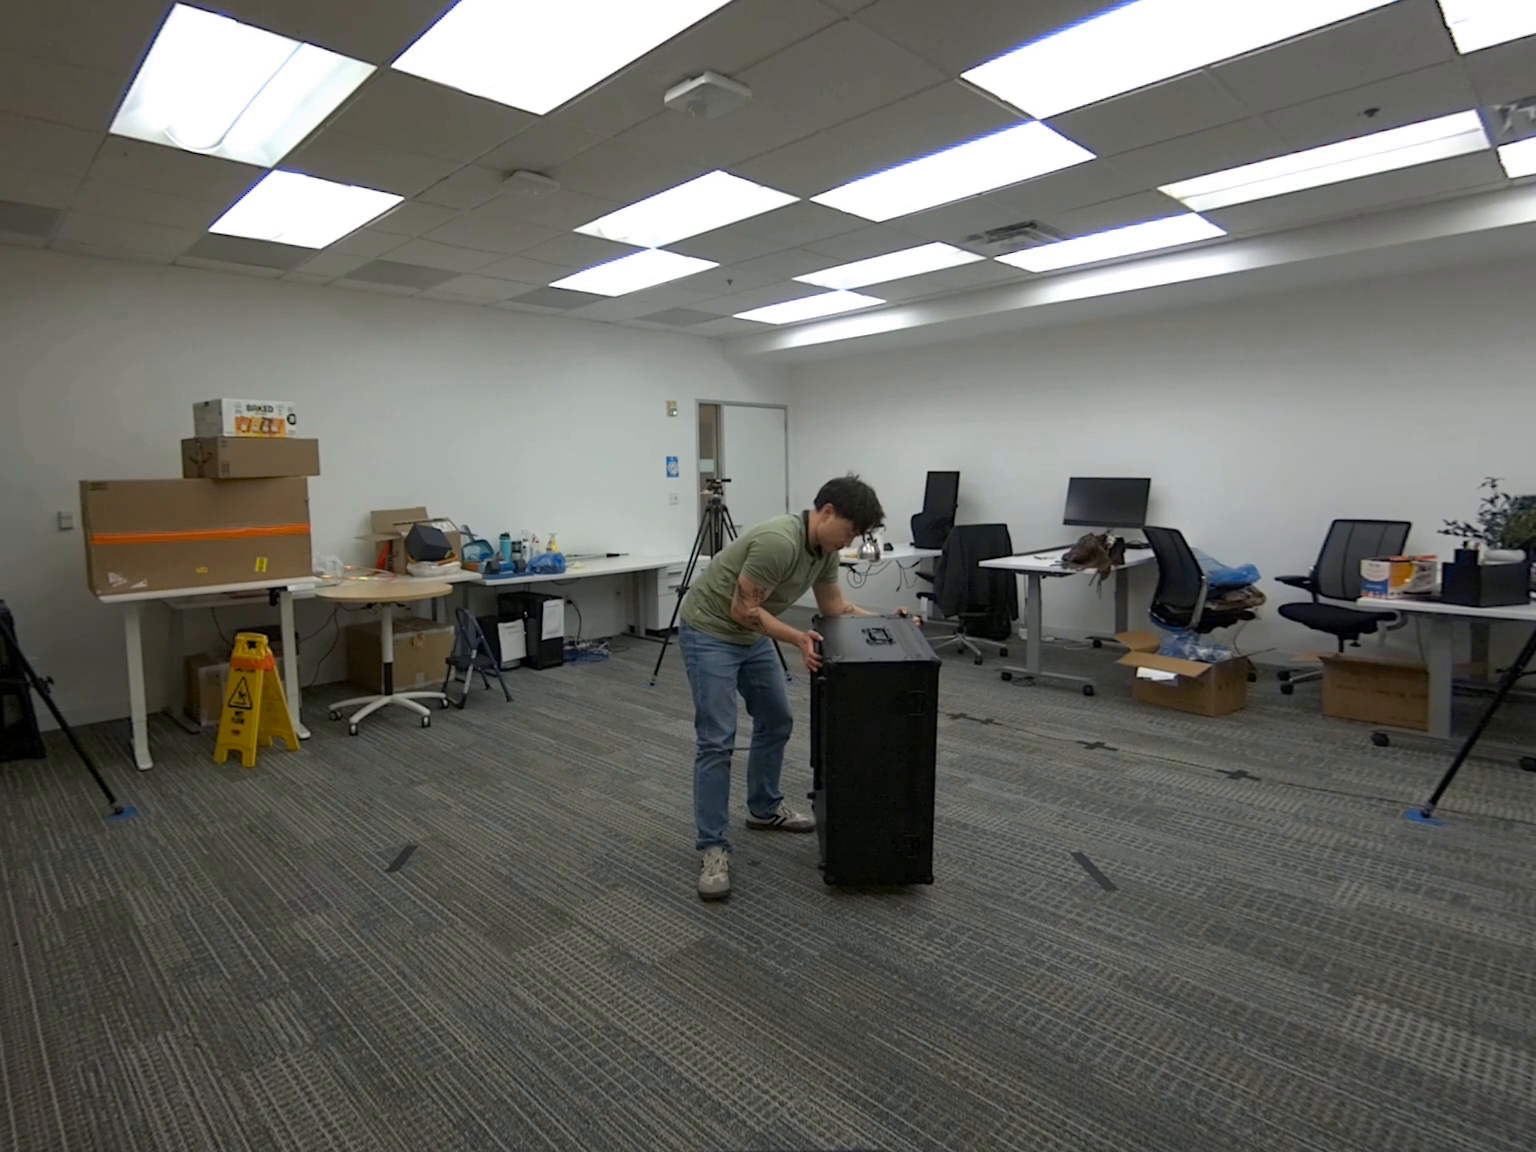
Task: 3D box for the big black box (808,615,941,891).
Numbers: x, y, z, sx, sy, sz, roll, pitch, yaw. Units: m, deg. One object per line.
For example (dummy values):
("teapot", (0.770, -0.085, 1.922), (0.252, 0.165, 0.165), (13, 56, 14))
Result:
("big black box", (0.347, 0.561, 2.968), (0.397, 0.852, 0.526), (0, 13, 1))
